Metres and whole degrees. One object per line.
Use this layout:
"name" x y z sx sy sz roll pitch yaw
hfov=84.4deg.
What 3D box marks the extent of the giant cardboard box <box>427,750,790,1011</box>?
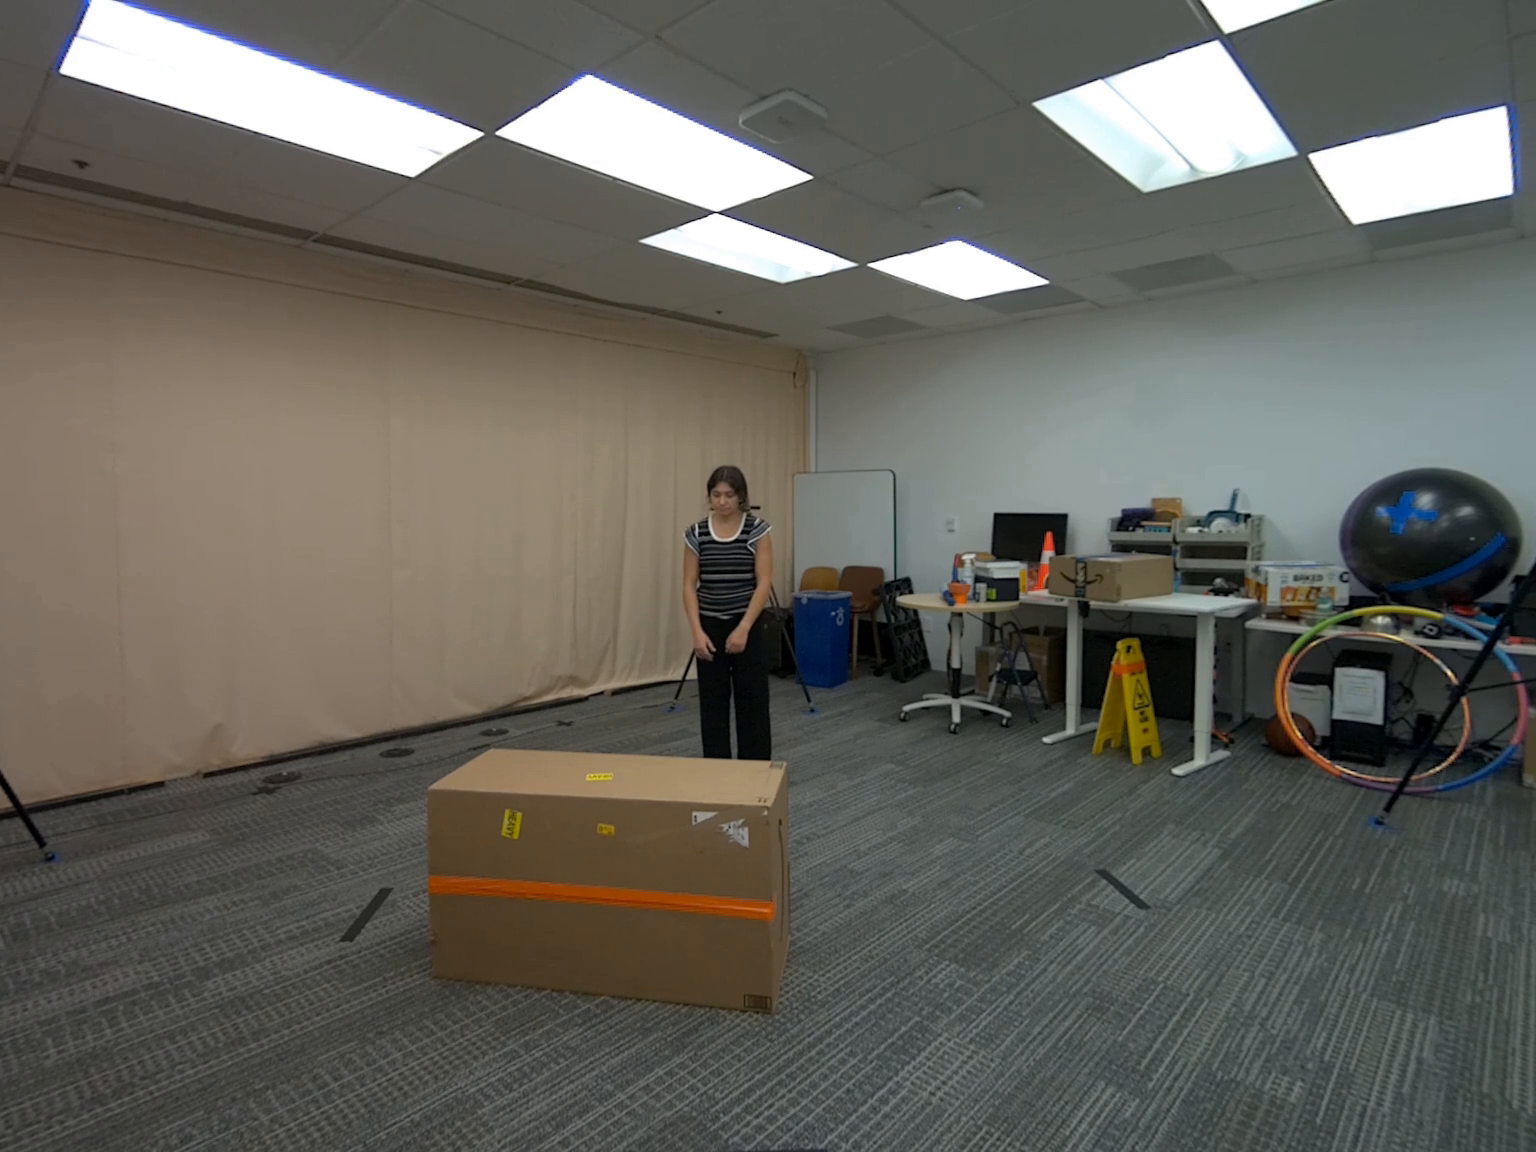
"giant cardboard box" -0.474 0.890 2.585 1.039 0.576 0.422 0 3 11
